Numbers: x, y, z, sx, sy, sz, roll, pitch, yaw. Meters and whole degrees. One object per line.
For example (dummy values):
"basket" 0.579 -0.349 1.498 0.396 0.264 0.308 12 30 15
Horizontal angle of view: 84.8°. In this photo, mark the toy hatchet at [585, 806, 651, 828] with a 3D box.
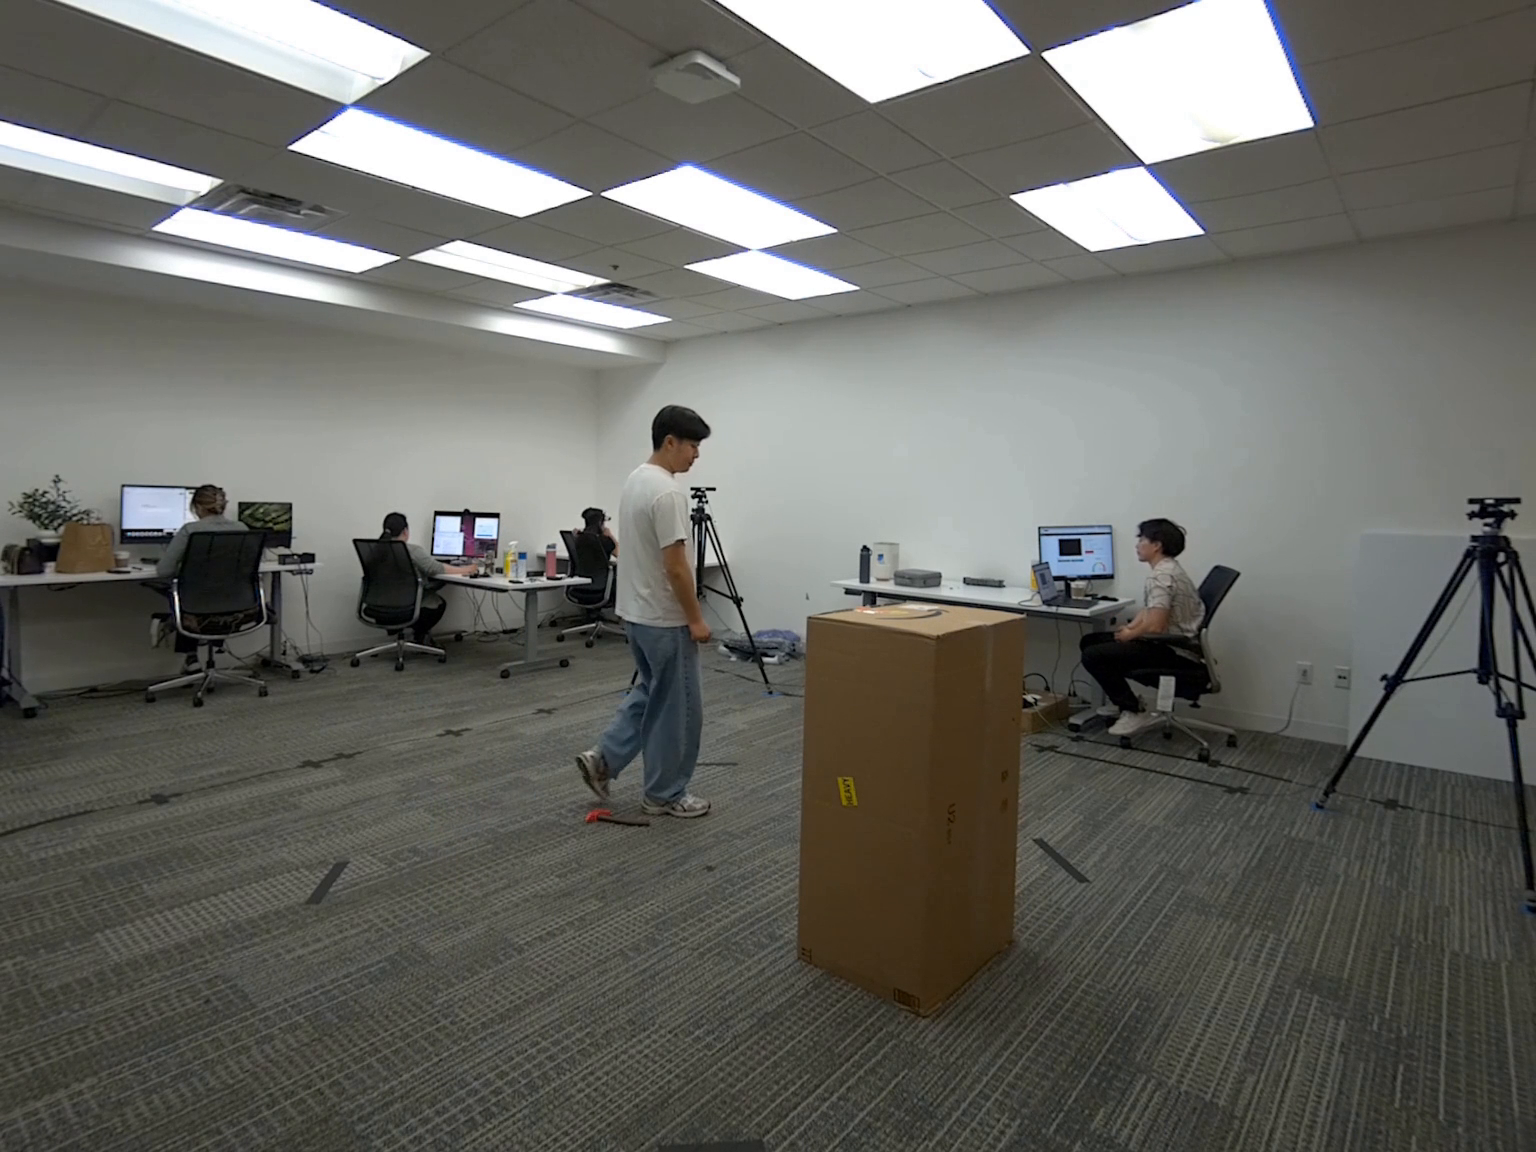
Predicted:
"toy hatchet" -0.637 1.006 3.555 0.271 0.029 0.131 3 5 2
